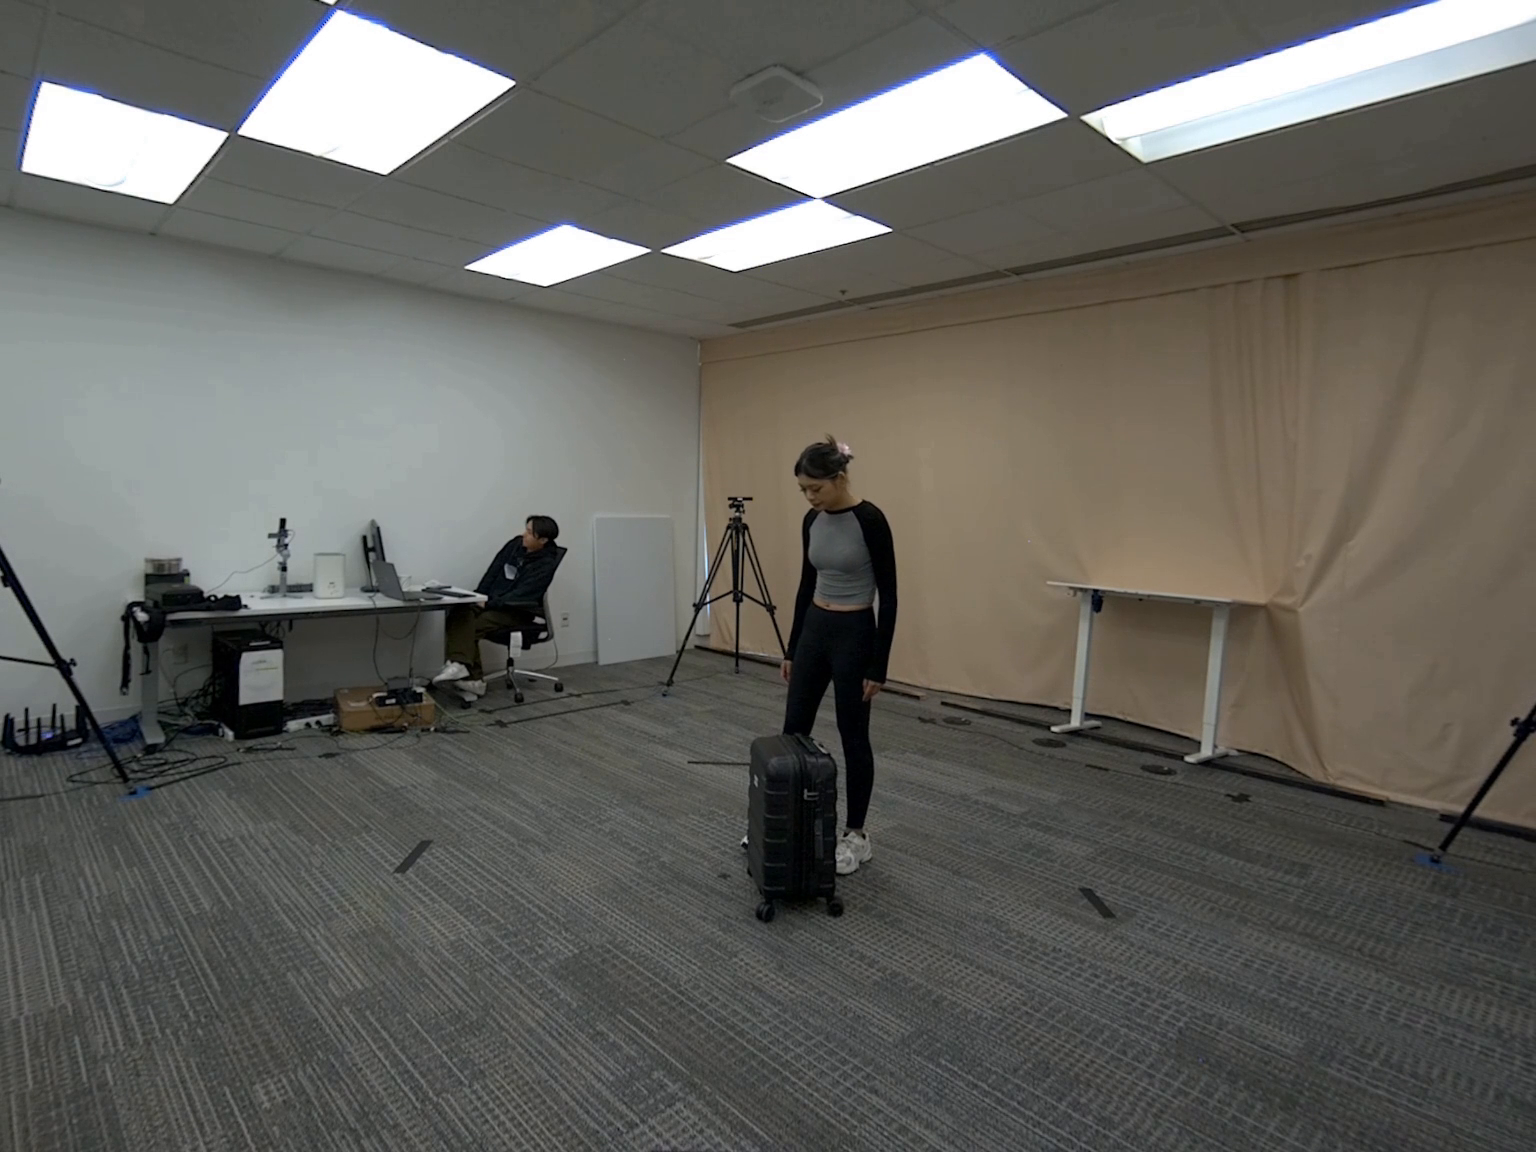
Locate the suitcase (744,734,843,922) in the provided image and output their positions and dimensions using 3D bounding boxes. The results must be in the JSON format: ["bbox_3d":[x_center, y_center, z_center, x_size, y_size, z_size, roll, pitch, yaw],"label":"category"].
[{"bbox_3d":[0.070,0.847,2.946,0.246,0.548,0.379,0,4,-11],"label":"suitcase"}]
